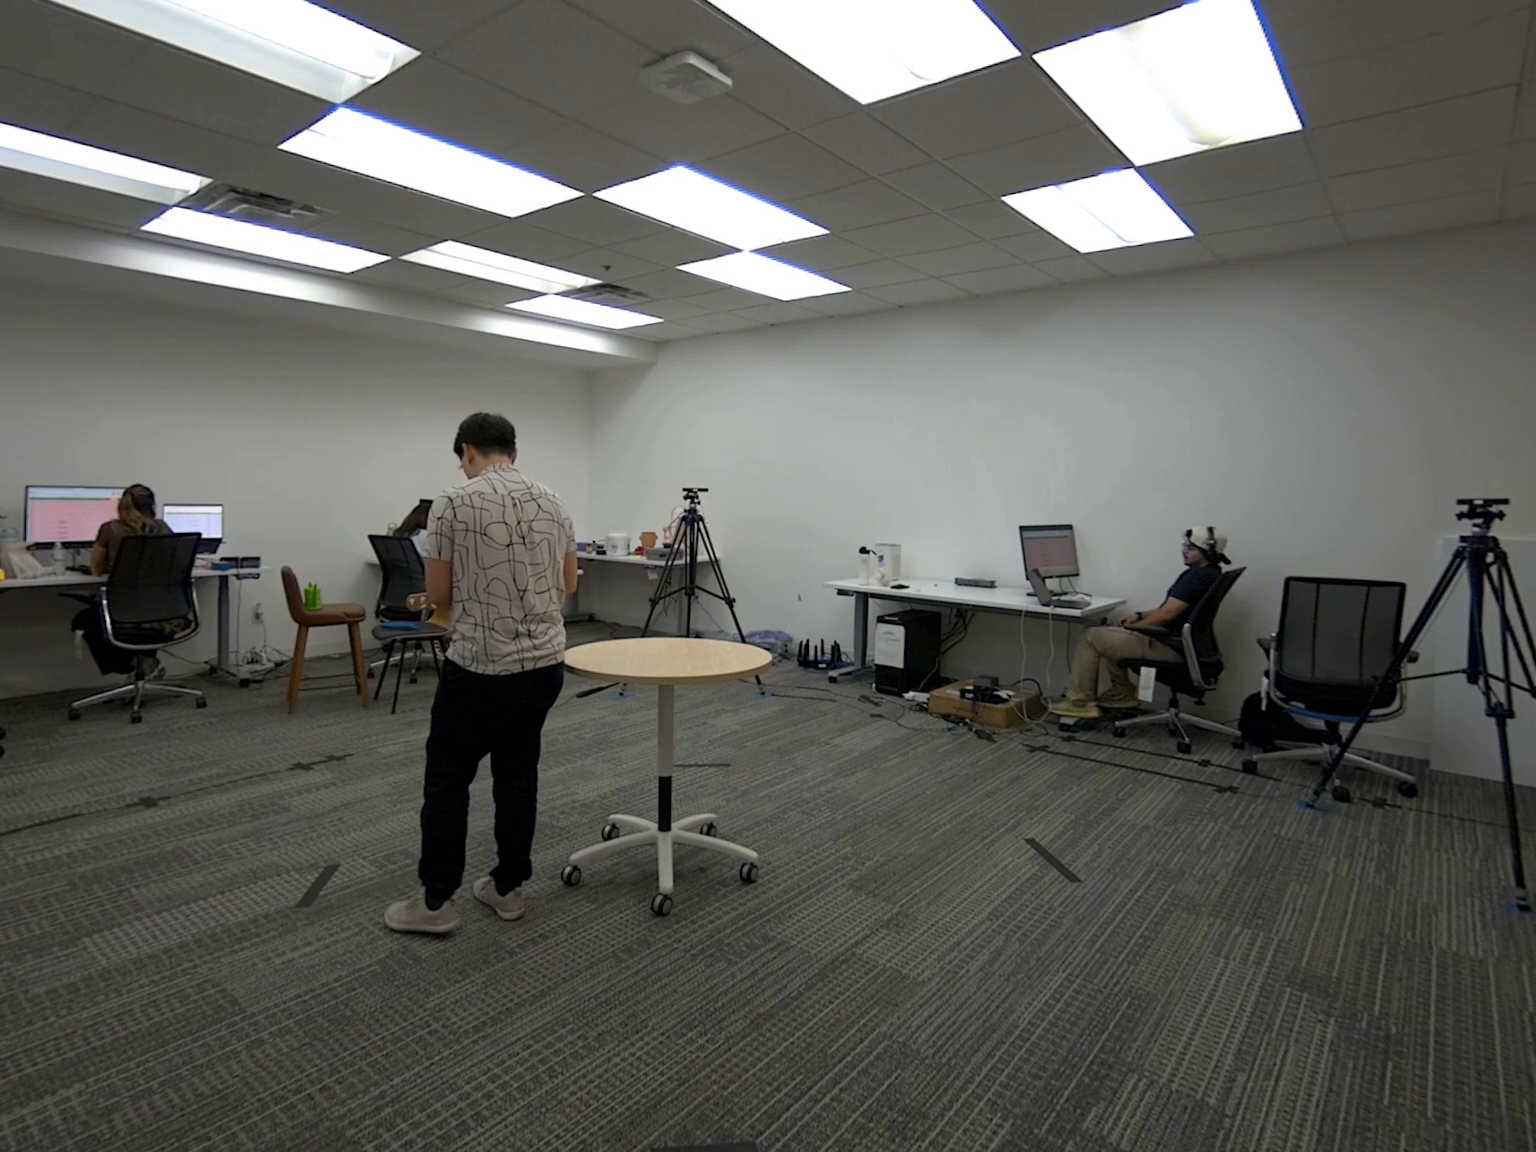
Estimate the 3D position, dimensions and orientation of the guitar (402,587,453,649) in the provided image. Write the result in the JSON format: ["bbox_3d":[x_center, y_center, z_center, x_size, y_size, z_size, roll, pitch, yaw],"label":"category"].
[{"bbox_3d":[-0.993,0.090,2.927,0.498,0.191,0.071,-15,8,1],"label":"guitar"}]
